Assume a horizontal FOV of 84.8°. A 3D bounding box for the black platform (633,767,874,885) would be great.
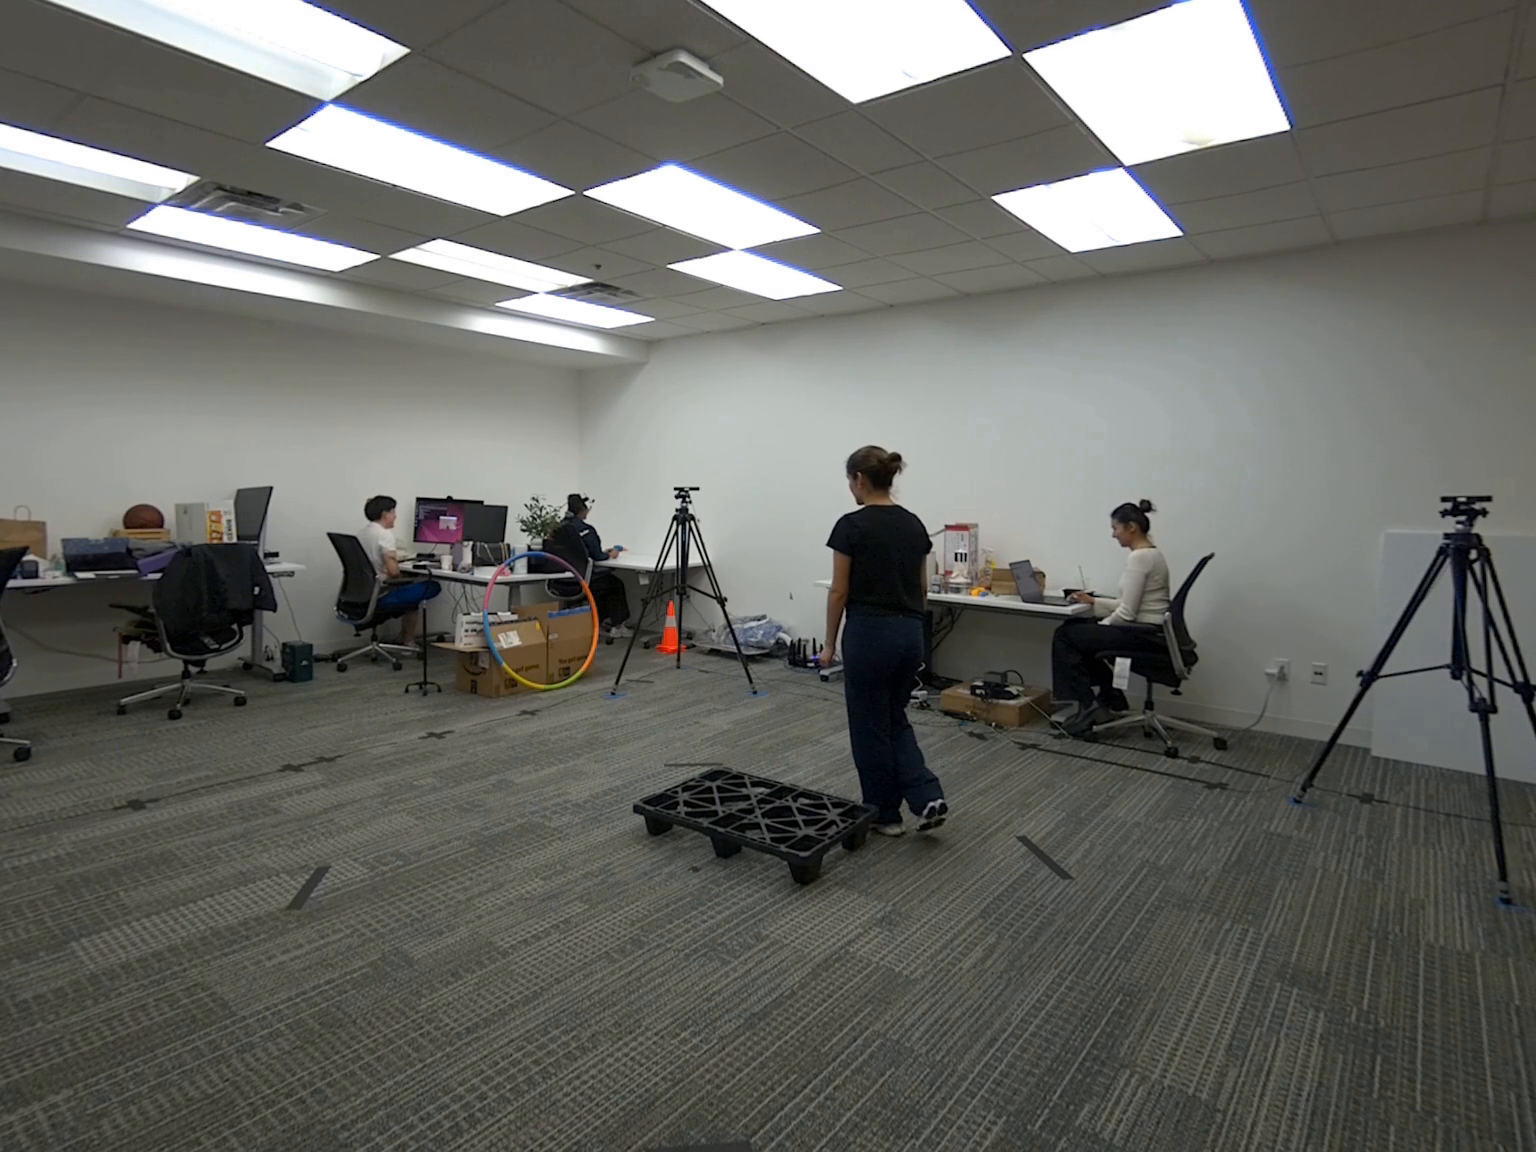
[{"bbox_3d":[-0.035,0.974,3.400,0.832,0.143,0.588,5,6,35],"label":"black platform"}]
